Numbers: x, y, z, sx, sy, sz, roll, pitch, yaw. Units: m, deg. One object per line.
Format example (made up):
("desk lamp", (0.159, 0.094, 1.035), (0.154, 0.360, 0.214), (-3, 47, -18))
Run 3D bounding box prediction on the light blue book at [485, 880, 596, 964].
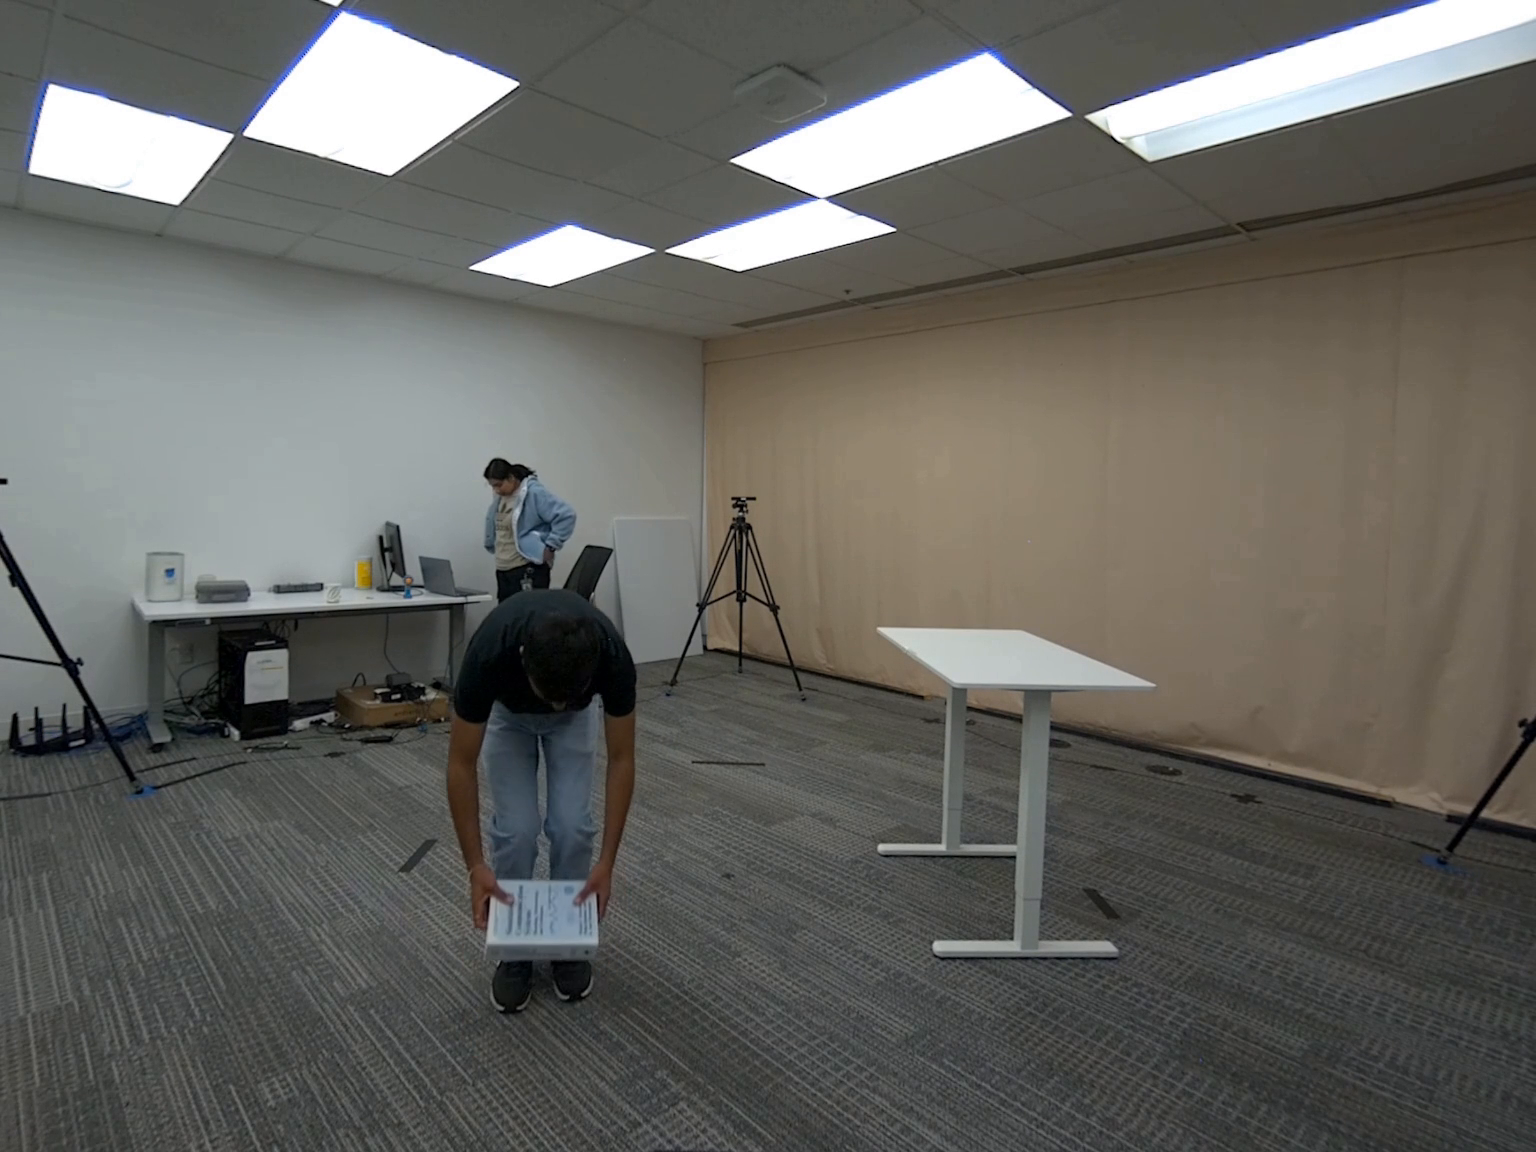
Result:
("light blue book", (-0.578, 0.855, 2.068), (0.257, 0.058, 0.196), (7, 26, -15))
